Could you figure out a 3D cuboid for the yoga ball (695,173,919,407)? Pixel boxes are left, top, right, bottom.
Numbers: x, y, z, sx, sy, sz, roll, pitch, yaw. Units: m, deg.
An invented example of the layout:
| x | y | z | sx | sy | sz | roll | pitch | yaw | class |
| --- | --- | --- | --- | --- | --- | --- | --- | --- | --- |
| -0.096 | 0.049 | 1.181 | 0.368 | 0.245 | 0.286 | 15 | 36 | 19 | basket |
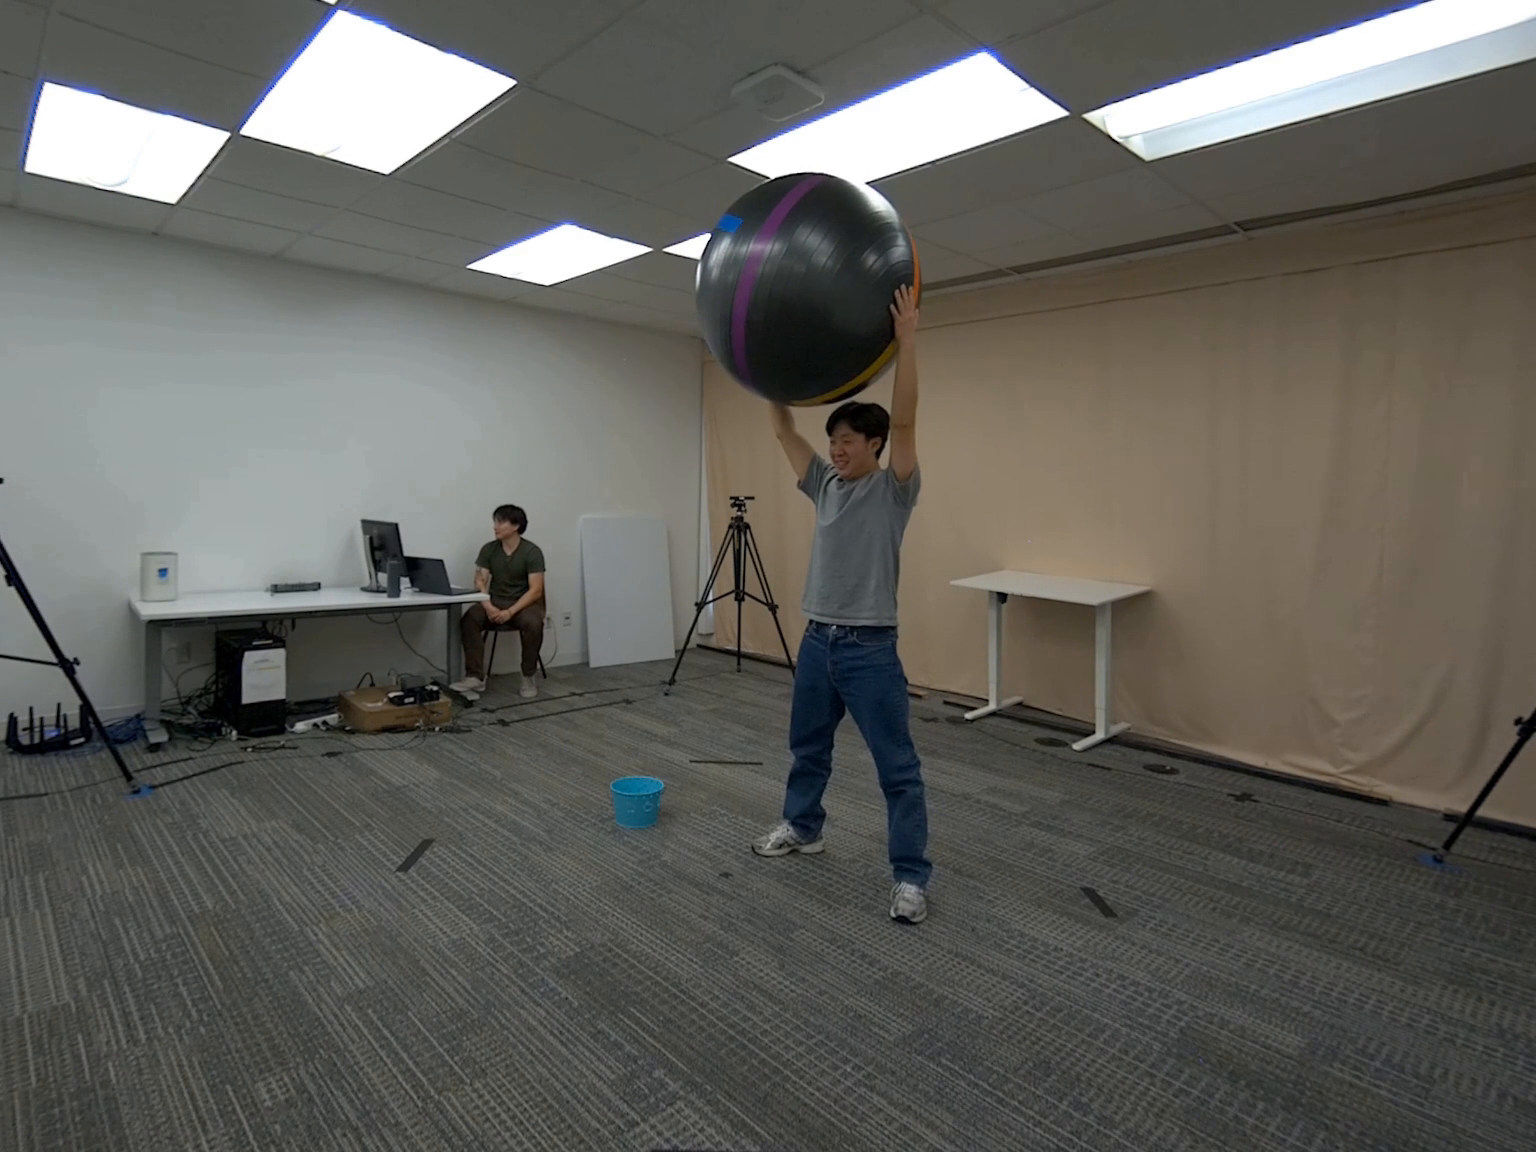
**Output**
| x | y | z | sx | sy | sz | roll | pitch | yaw | class |
| --- | --- | --- | --- | --- | --- | --- | --- | --- | --- |
| 0.117 | -0.937 | 2.834 | 0.757 | 0.756 | 0.761 | 1 | 4 | -1 | yoga ball |
